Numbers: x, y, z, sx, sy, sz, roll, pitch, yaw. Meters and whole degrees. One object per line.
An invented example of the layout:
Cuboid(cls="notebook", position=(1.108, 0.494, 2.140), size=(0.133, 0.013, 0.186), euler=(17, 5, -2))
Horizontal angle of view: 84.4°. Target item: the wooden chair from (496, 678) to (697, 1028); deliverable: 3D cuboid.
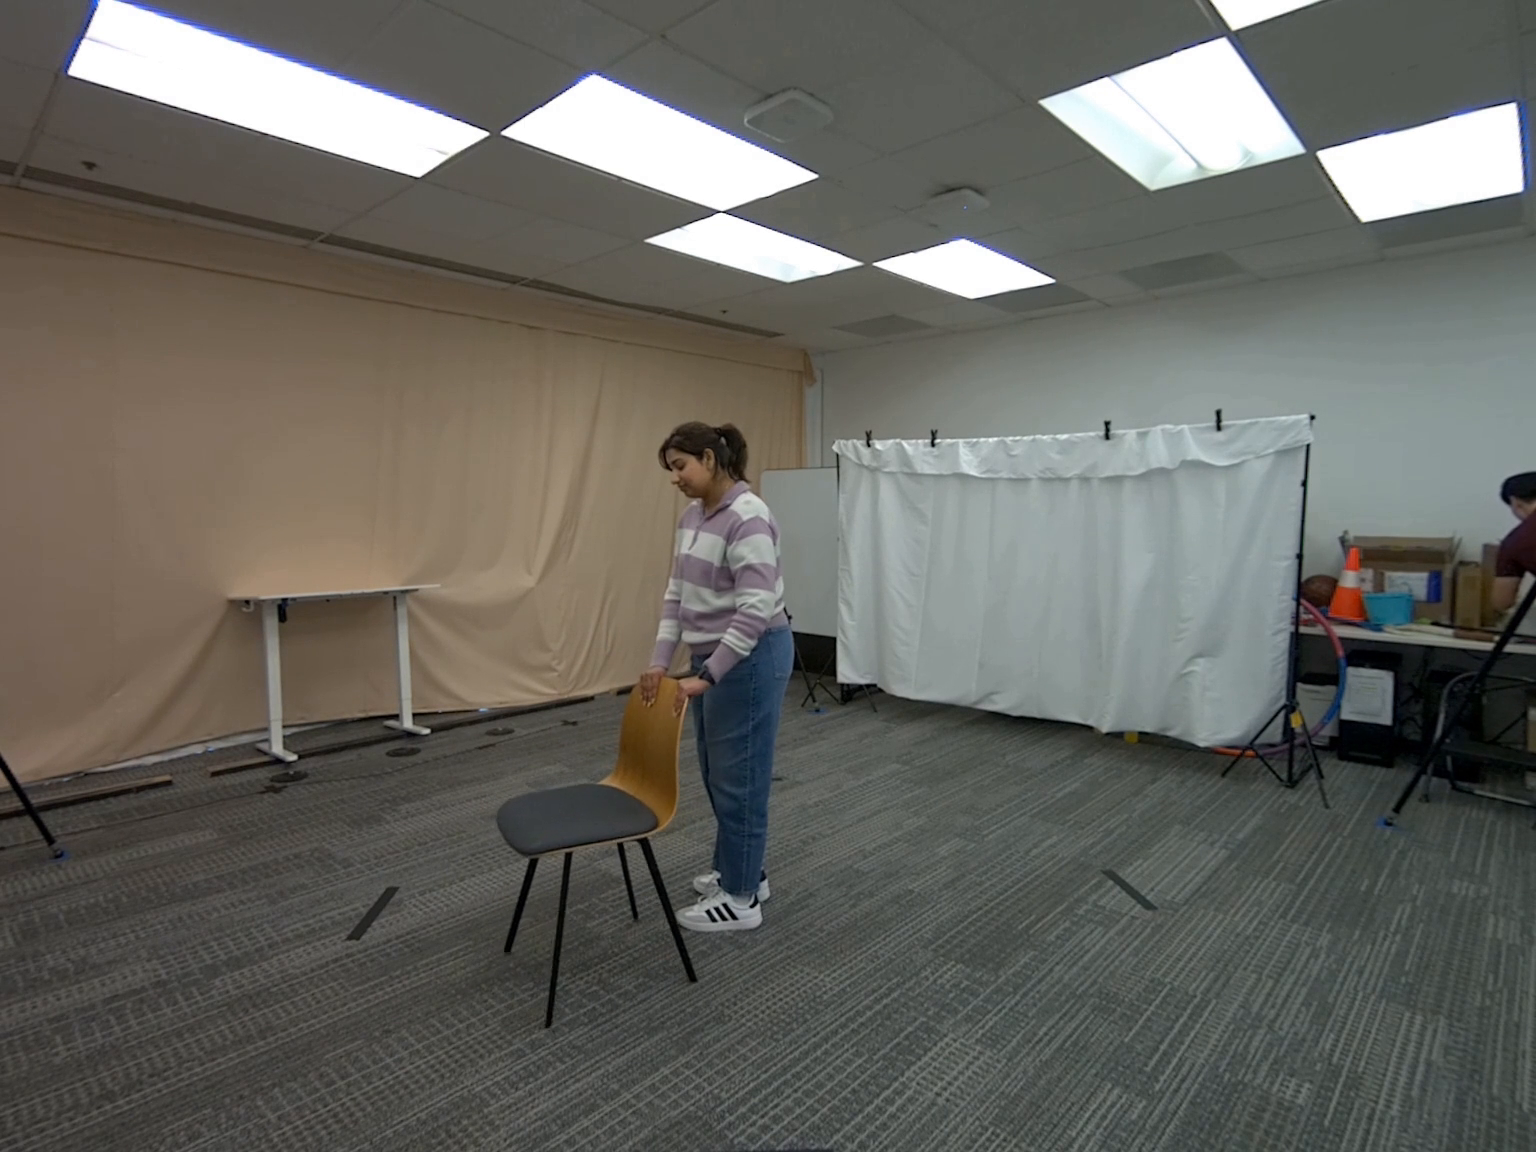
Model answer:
Cuboid(cls="wooden chair", position=(-0.521, 0.757, 2.521), size=(0.508, 0.877, 0.492), euler=(3, 1, -30))
